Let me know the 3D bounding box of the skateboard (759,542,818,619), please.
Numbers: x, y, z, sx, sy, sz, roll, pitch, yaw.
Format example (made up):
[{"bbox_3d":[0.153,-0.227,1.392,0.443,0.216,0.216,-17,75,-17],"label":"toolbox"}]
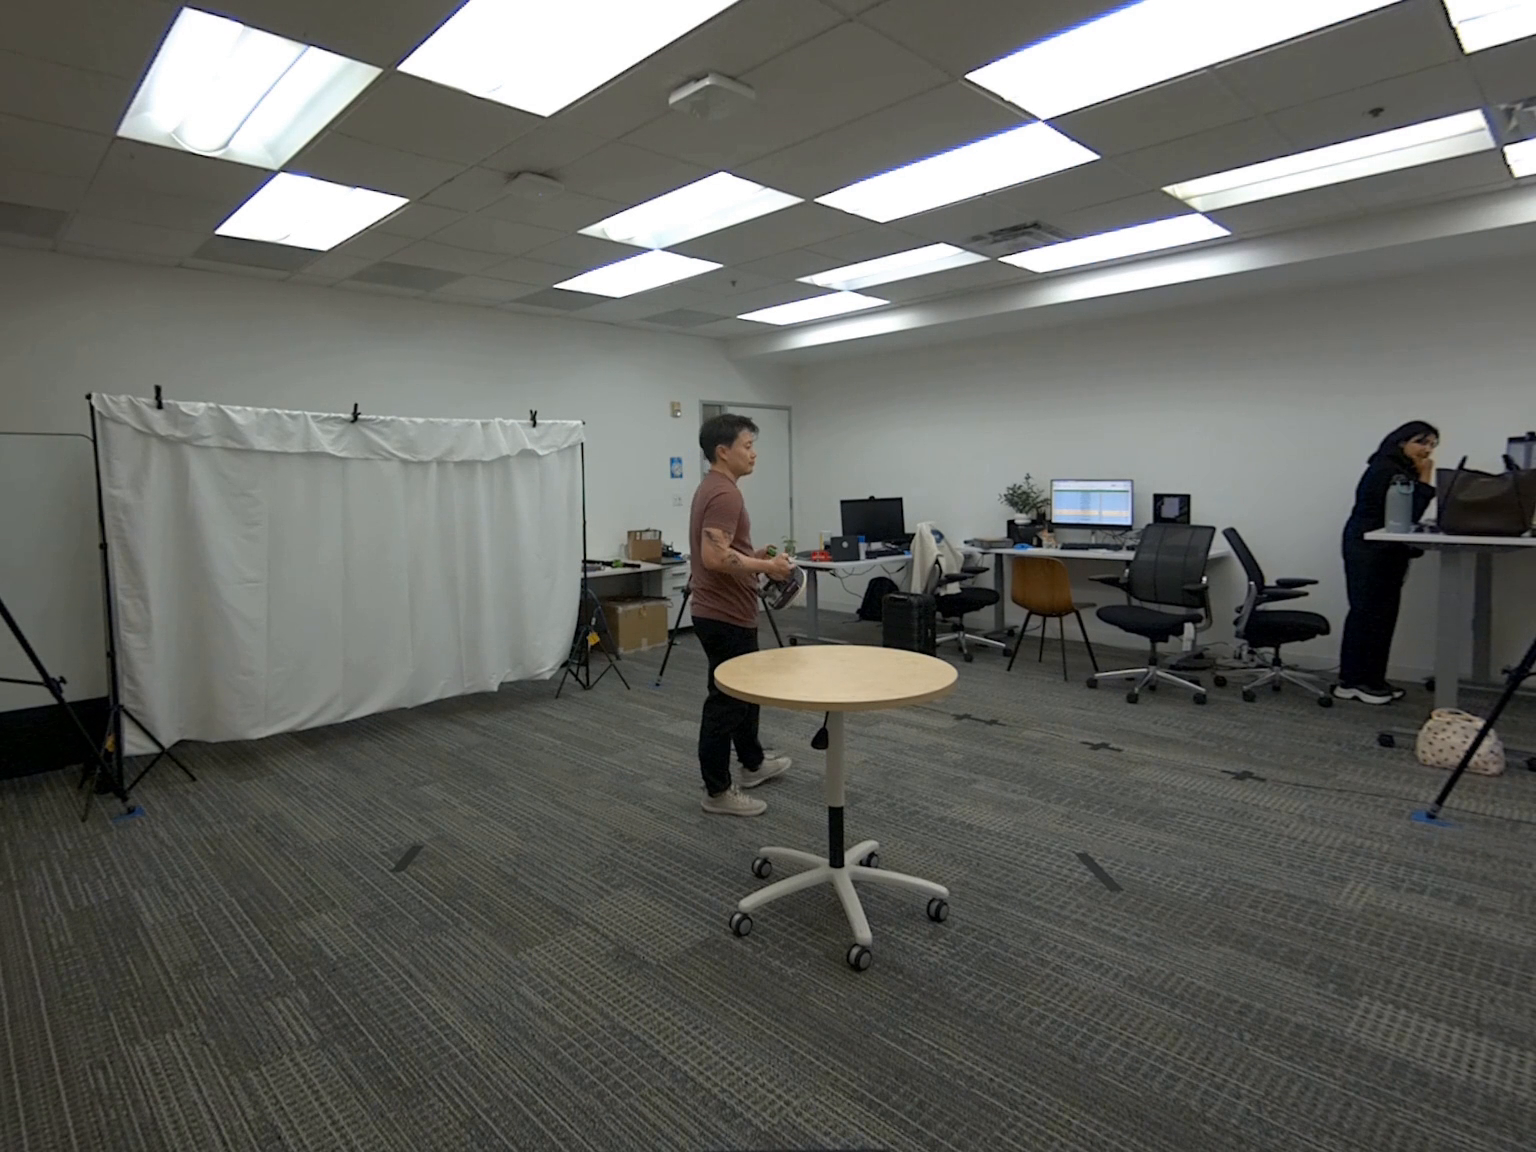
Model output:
[{"bbox_3d":[0.031,-0.001,3.610,0.109,0.193,0.794,39,1,-10],"label":"skateboard"}]
